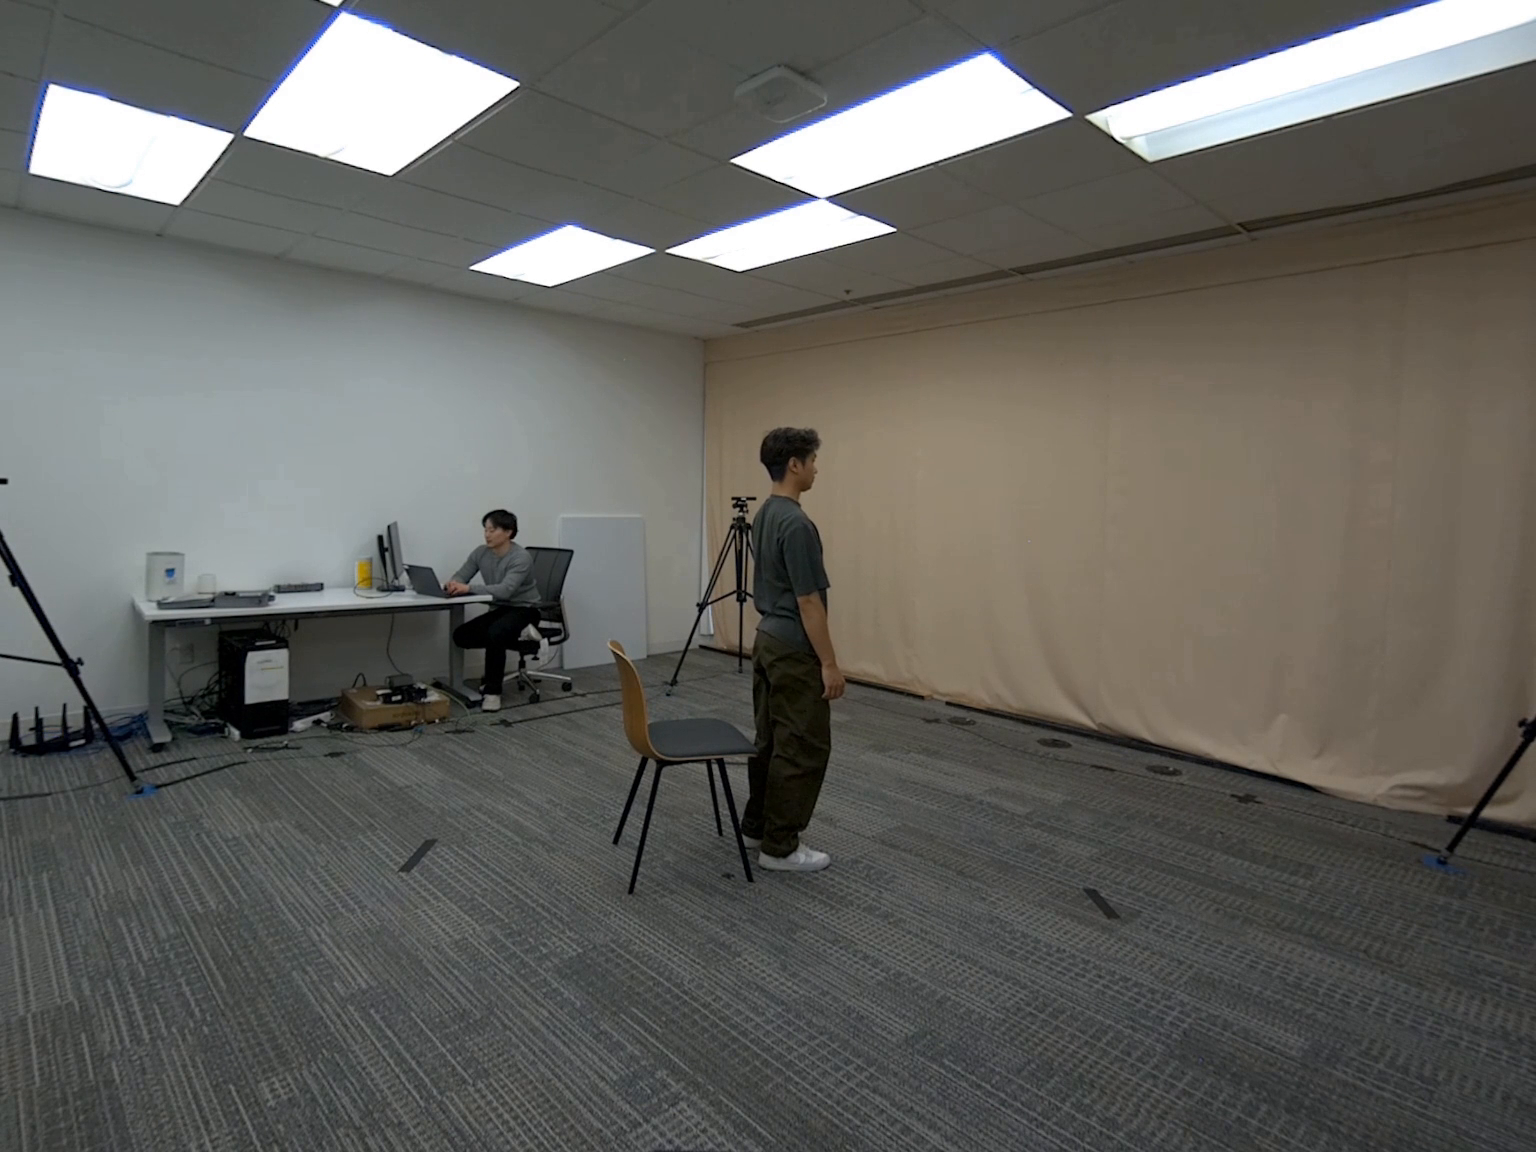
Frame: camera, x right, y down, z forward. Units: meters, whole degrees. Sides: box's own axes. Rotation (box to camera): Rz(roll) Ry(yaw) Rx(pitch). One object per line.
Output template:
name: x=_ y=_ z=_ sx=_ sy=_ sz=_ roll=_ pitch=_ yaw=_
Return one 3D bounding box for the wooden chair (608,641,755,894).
wooden chair: x=-0.327 y=0.668 z=3.180 sx=0.517 sy=0.875 sz=0.485 roll=-3 pitch=4 yaw=-16
